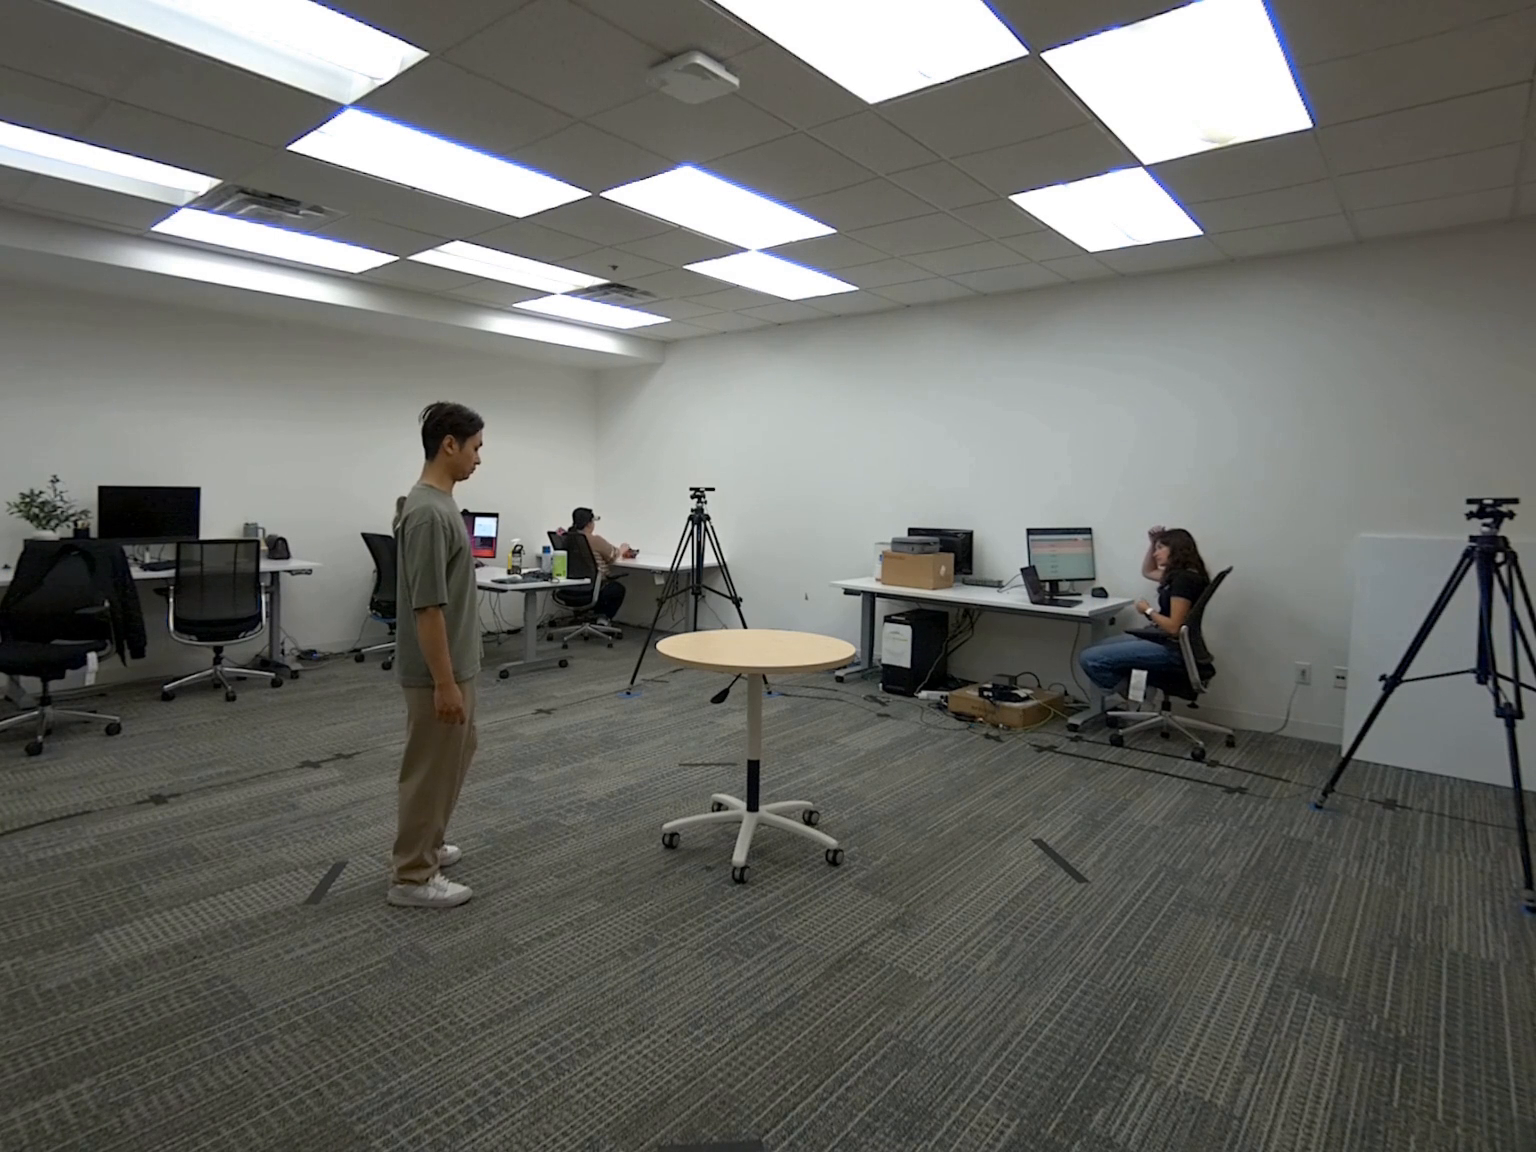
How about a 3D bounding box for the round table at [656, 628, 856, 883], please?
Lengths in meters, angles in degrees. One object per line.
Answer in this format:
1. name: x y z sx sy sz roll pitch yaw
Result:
1. round table: -0.064 0.658 3.294 0.784 0.784 0.789 1 4 -2
